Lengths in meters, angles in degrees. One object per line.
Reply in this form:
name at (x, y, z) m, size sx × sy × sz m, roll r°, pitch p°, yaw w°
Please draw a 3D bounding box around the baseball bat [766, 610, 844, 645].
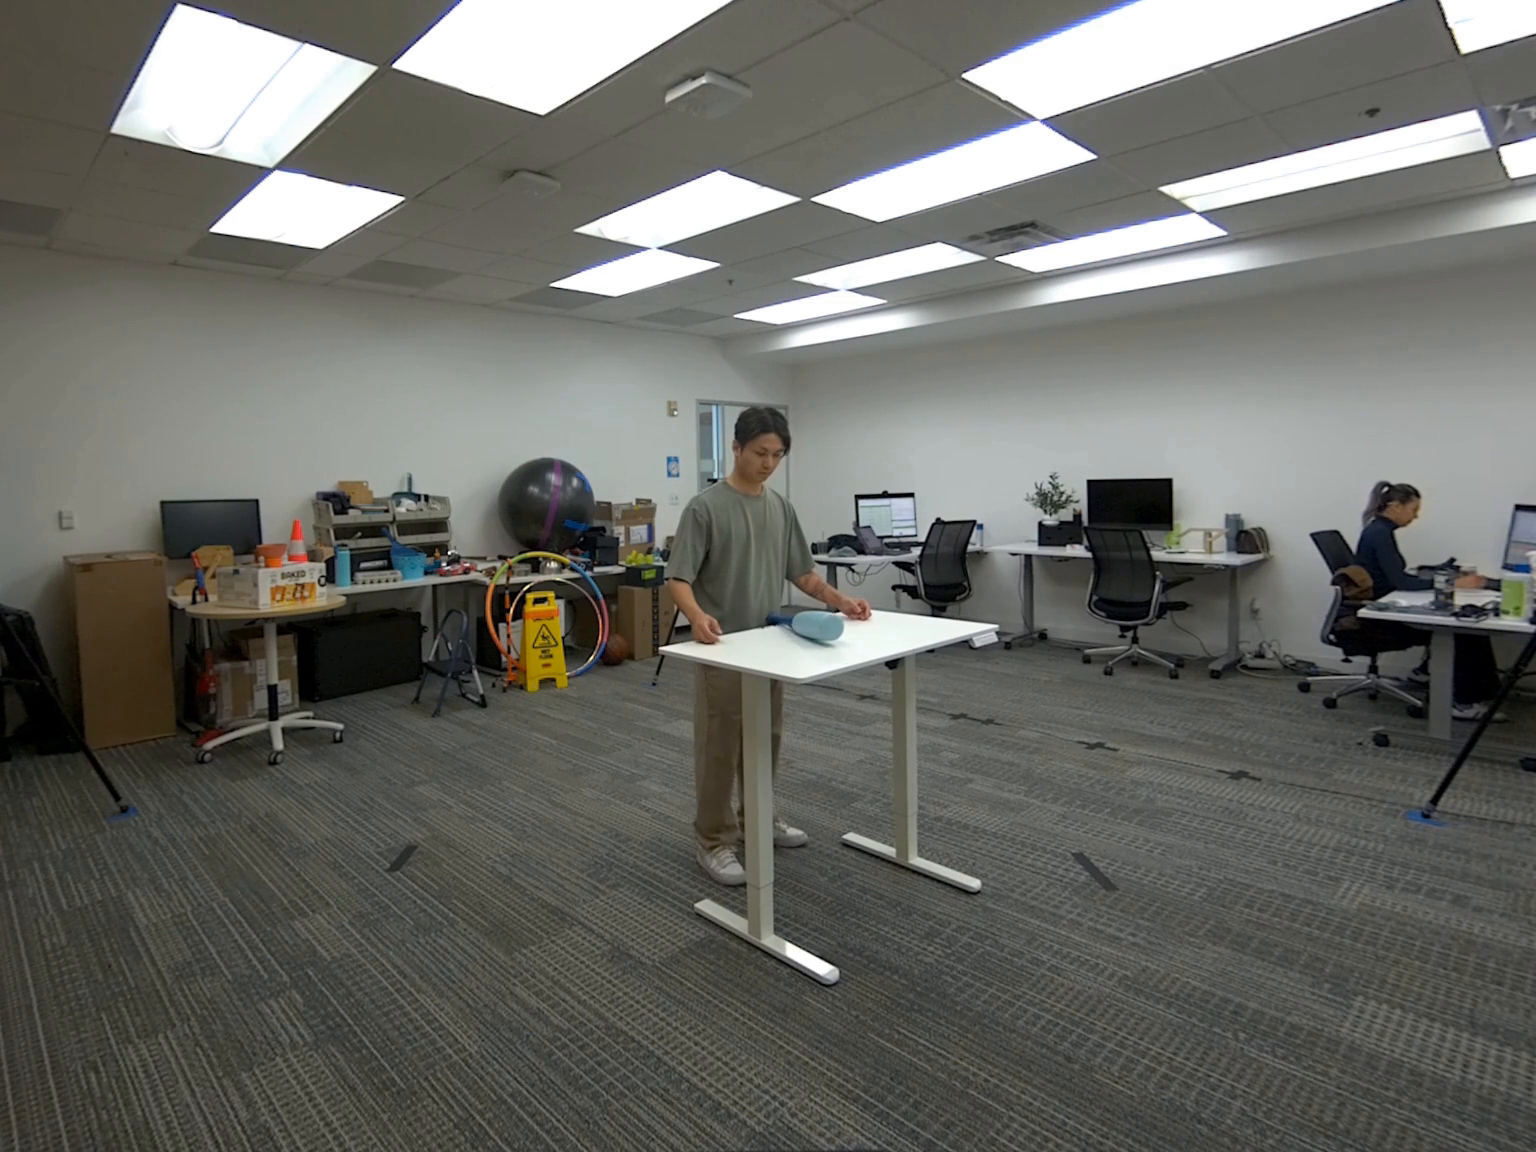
baseball bat at (0.097, 0.160, 2.846) m, size 0.087 × 0.089 × 0.551 m, roll -2°, pitch 1°, yaw -19°
